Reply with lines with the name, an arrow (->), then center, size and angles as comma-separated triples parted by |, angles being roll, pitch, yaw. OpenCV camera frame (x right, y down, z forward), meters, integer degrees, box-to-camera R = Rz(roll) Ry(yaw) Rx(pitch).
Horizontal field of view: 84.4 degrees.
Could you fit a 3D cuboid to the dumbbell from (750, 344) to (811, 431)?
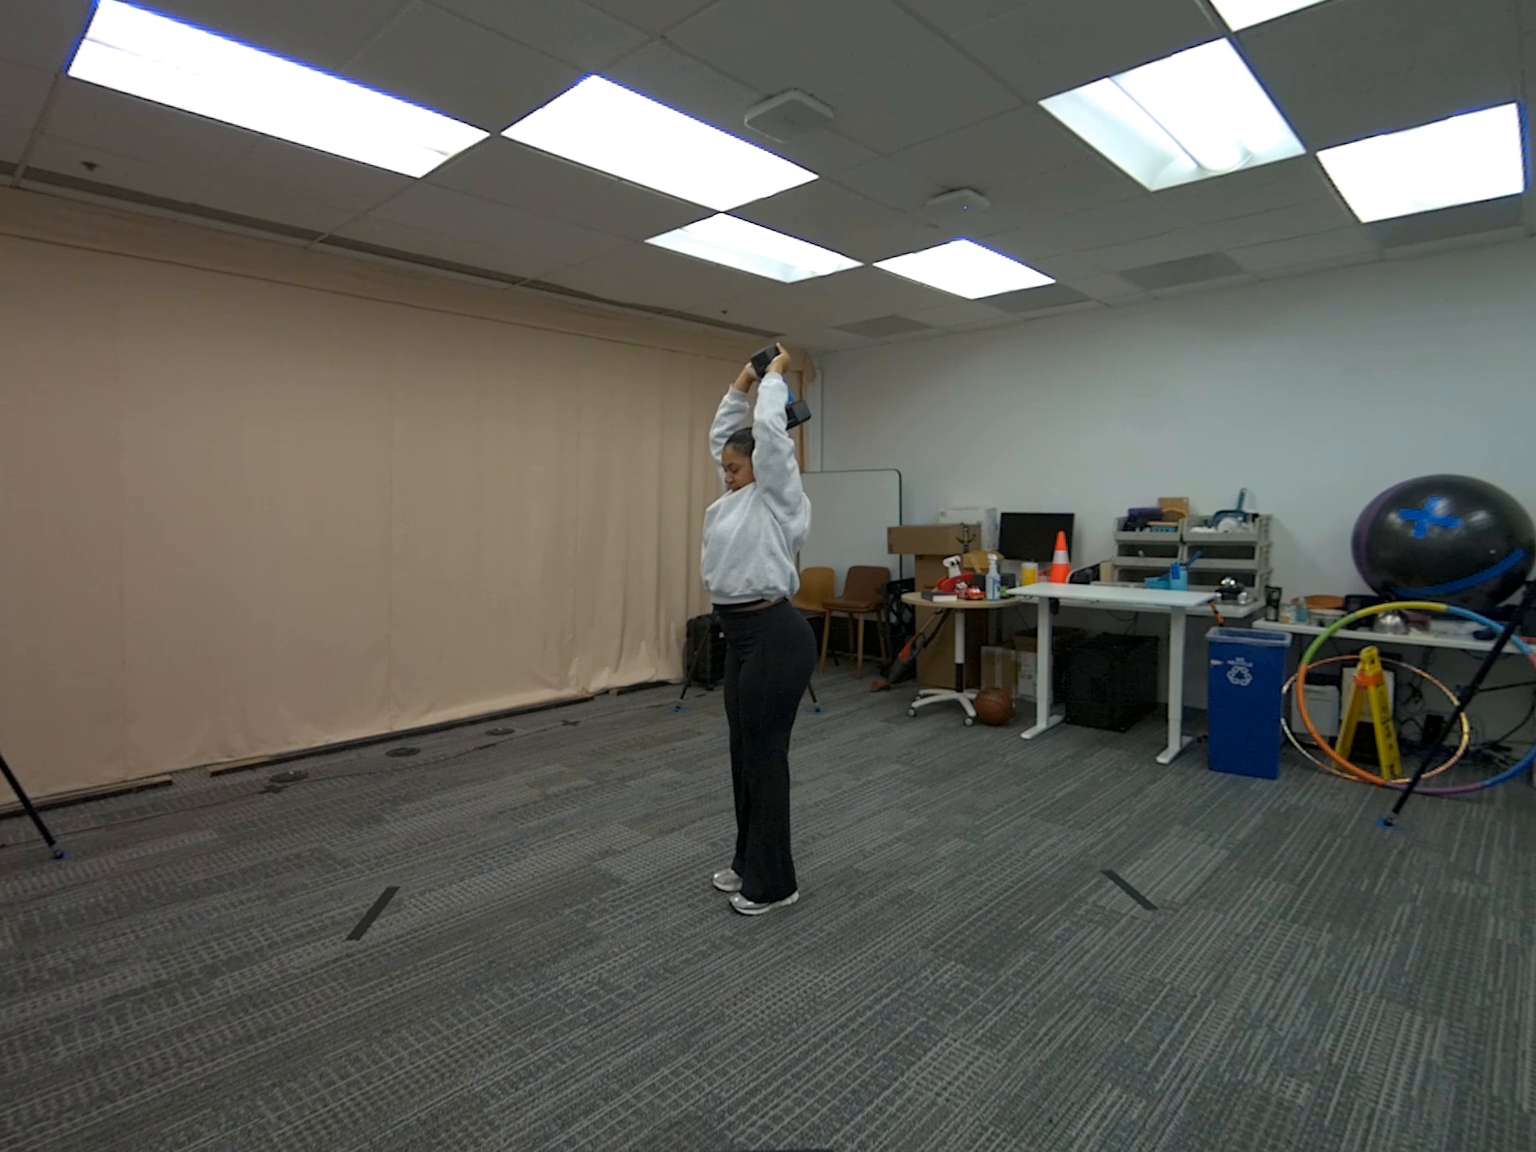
dumbbell -> 0.052, -0.652, 2.975 | 0.125, 0.293, 0.107 | -25, 3, 29
